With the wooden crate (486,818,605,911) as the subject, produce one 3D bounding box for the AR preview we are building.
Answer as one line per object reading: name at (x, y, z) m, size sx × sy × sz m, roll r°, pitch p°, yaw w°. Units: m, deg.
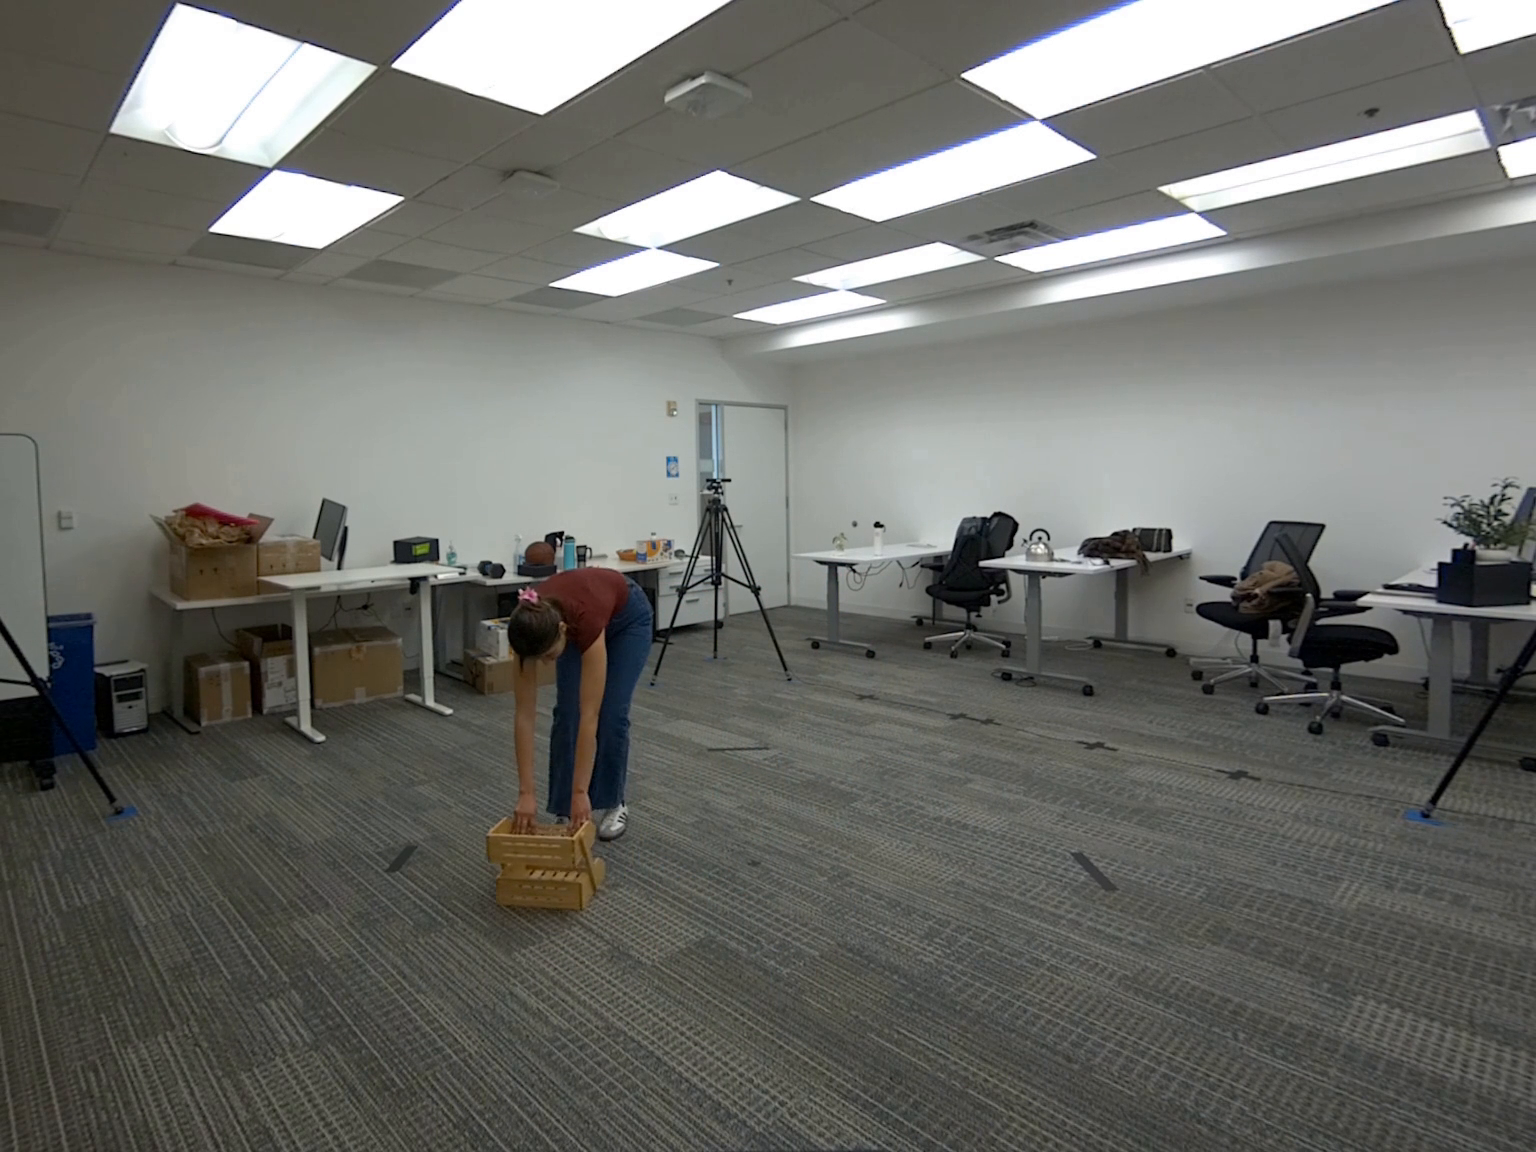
wooden crate at (-0.750, 0.951, 2.910) m, size 0.327 × 0.272 × 0.301 m, roll -1°, pitch 6°, yaw 7°
